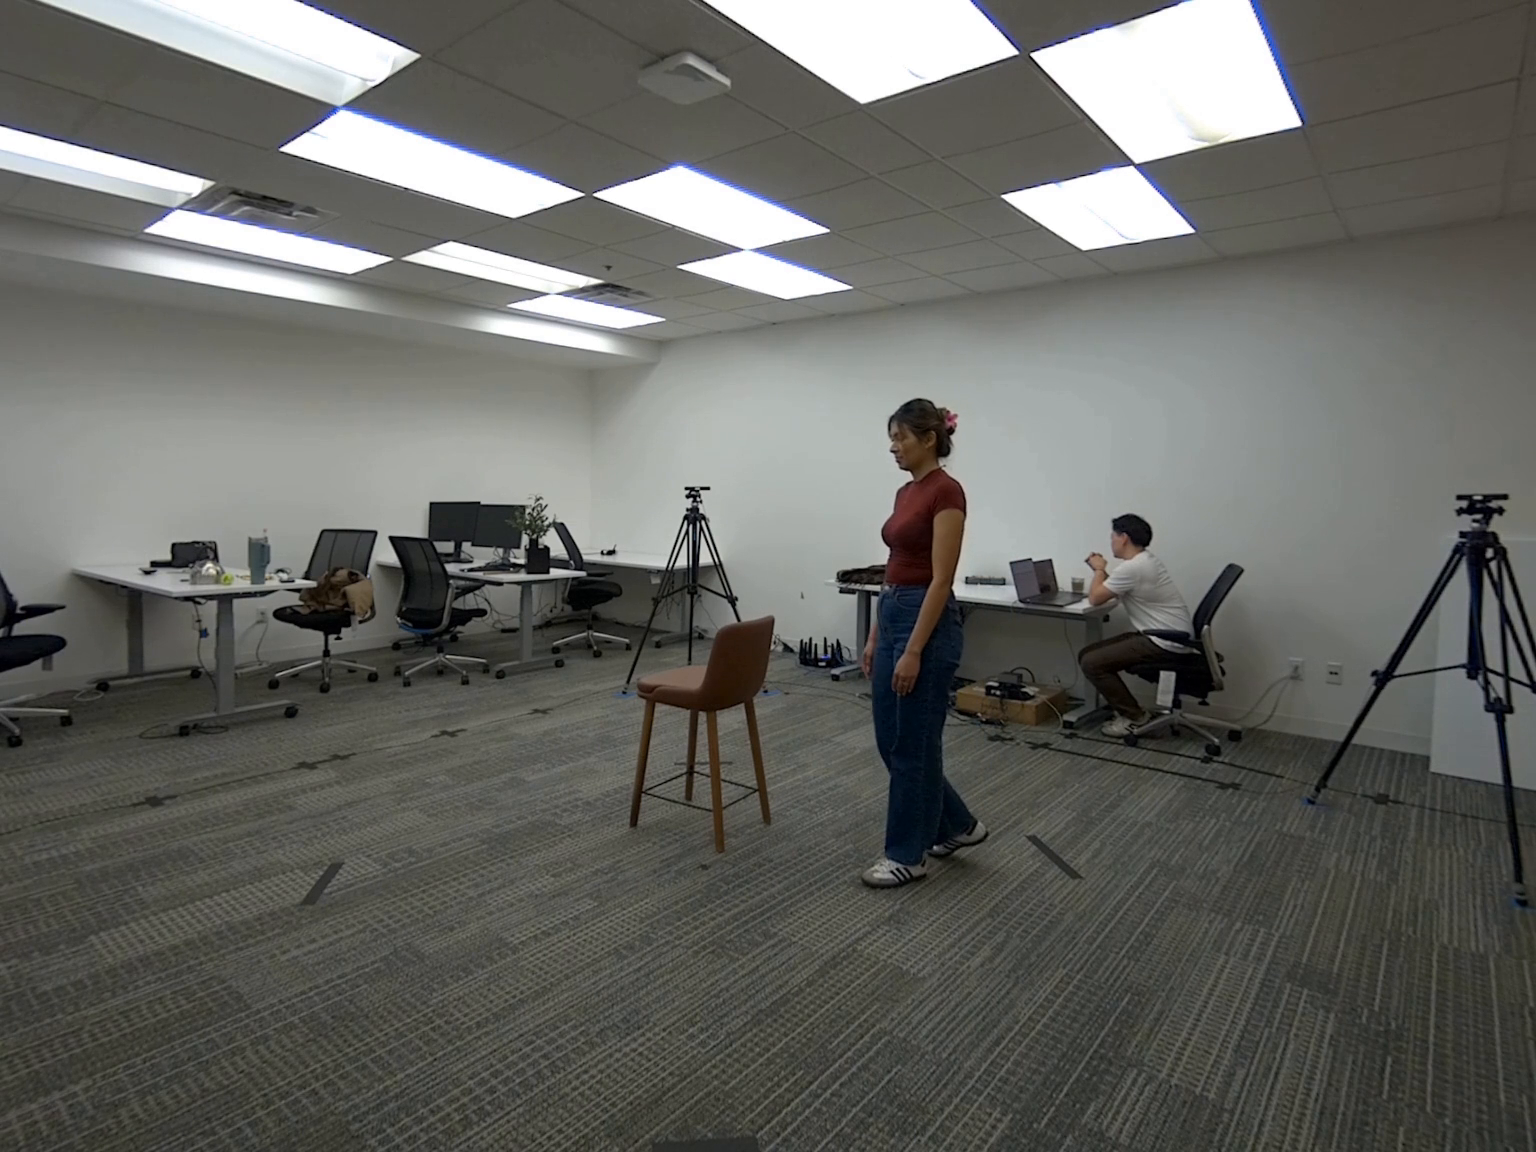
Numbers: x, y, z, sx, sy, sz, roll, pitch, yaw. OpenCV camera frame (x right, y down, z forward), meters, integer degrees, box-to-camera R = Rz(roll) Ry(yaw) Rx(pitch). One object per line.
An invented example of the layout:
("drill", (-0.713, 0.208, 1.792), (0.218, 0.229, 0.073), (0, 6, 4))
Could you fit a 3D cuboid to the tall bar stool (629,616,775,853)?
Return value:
("tall bar stool", (-0.272, 0.592, 3.495), (0.482, 0.887, 0.444), (5, 5, 33))
